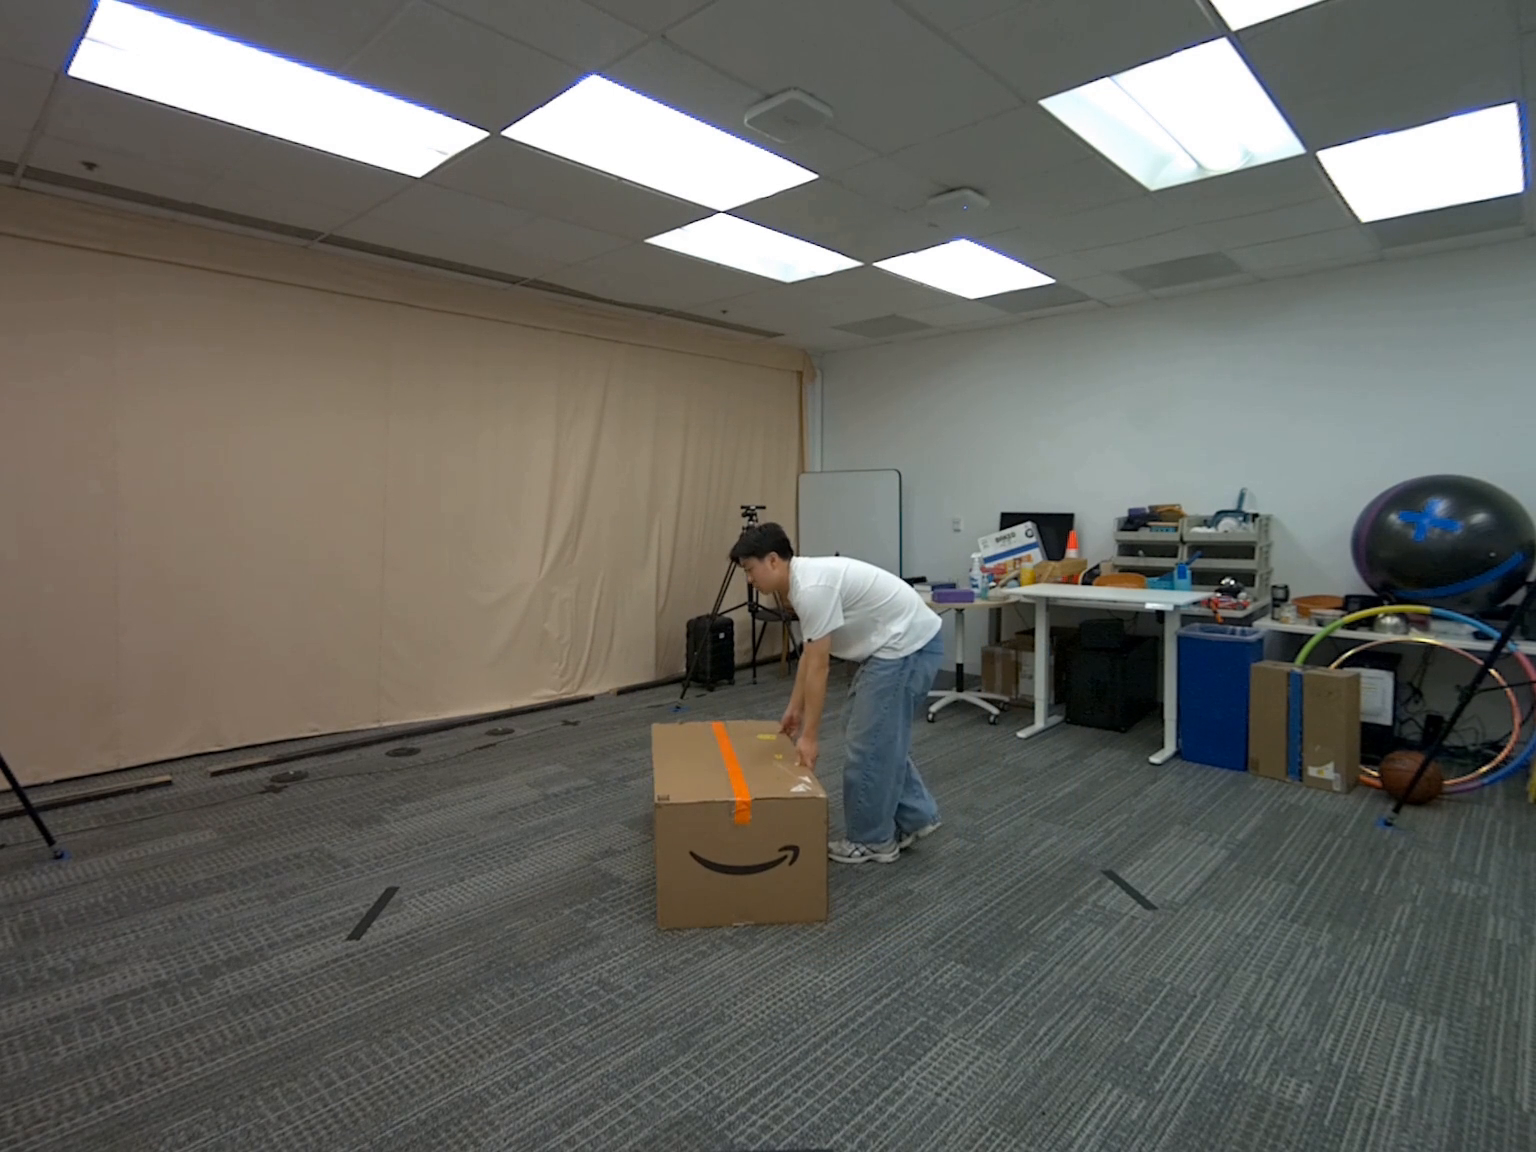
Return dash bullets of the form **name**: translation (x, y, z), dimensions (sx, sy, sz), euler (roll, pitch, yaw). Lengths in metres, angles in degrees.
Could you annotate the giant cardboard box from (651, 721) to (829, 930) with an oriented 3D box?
- **giant cardboard box**: translation (-0.158, 0.903, 3.284), dimensions (0.573, 0.425, 1.036), euler (0, 4, -8)
